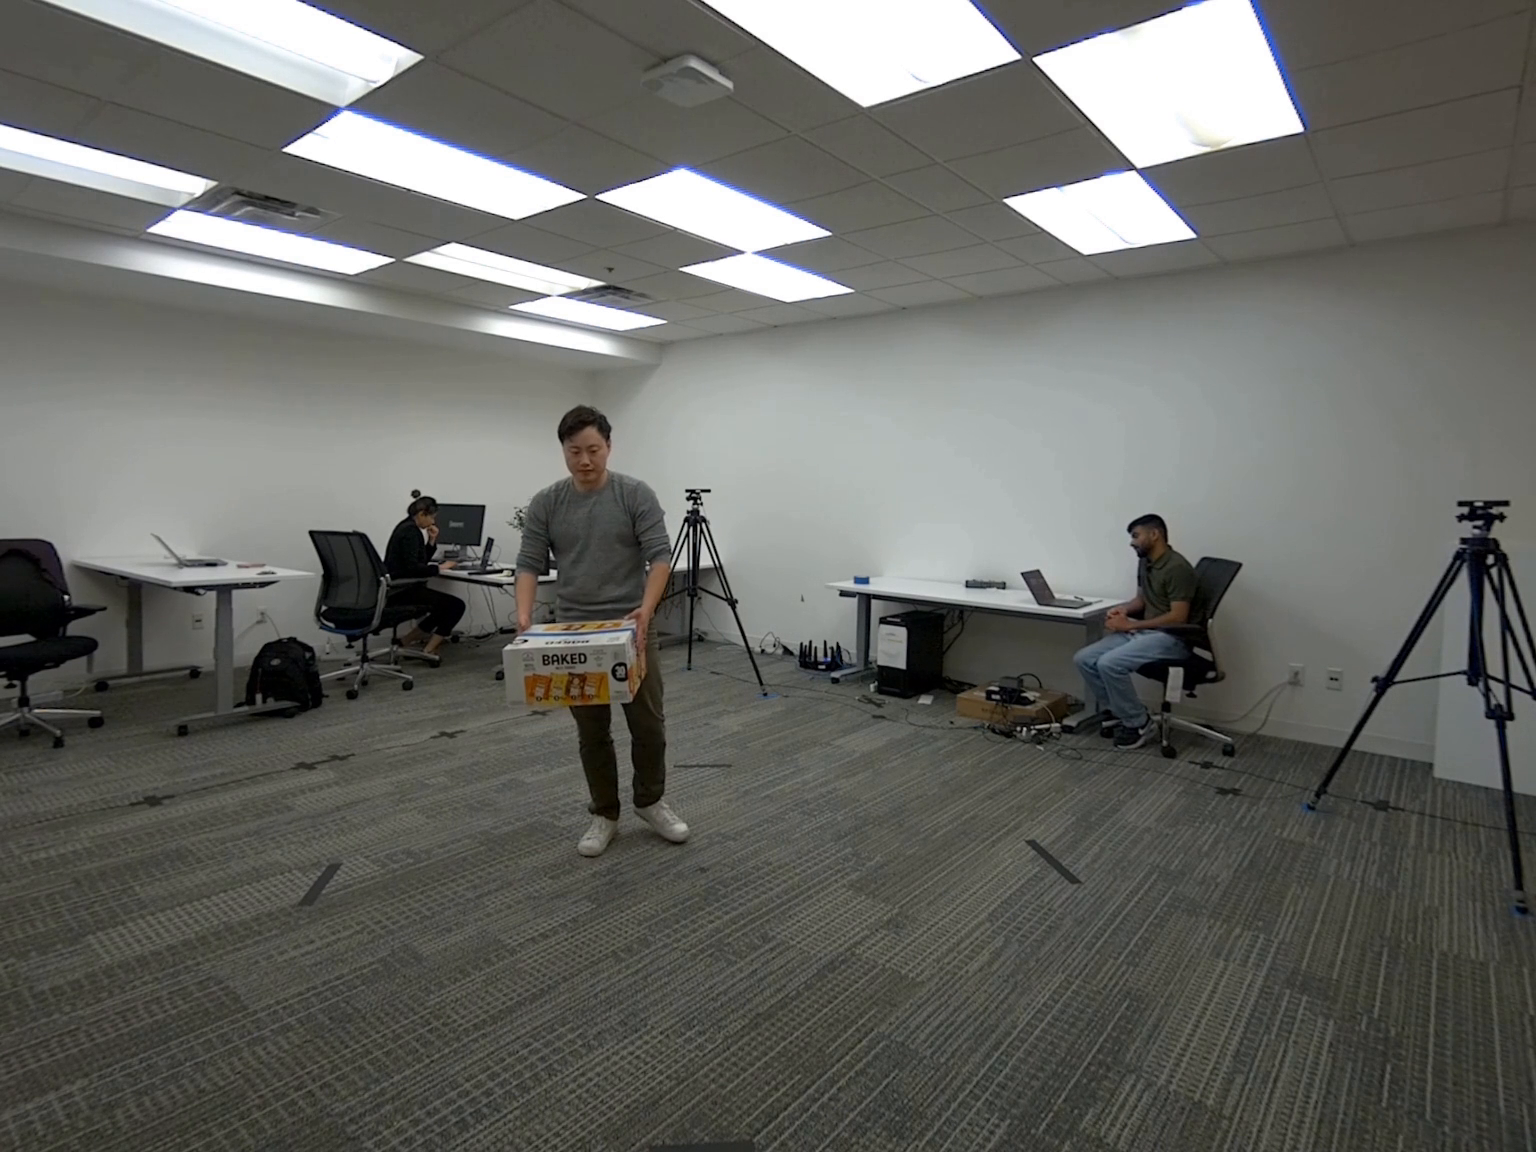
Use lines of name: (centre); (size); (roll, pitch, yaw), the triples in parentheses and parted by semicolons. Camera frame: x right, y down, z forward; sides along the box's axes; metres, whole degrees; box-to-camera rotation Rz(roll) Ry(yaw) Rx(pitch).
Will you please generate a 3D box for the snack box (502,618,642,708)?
snack box: (-0.662, 0.292, 2.901); (0.406, 0.204, 0.342); (-2, 8, 2)
